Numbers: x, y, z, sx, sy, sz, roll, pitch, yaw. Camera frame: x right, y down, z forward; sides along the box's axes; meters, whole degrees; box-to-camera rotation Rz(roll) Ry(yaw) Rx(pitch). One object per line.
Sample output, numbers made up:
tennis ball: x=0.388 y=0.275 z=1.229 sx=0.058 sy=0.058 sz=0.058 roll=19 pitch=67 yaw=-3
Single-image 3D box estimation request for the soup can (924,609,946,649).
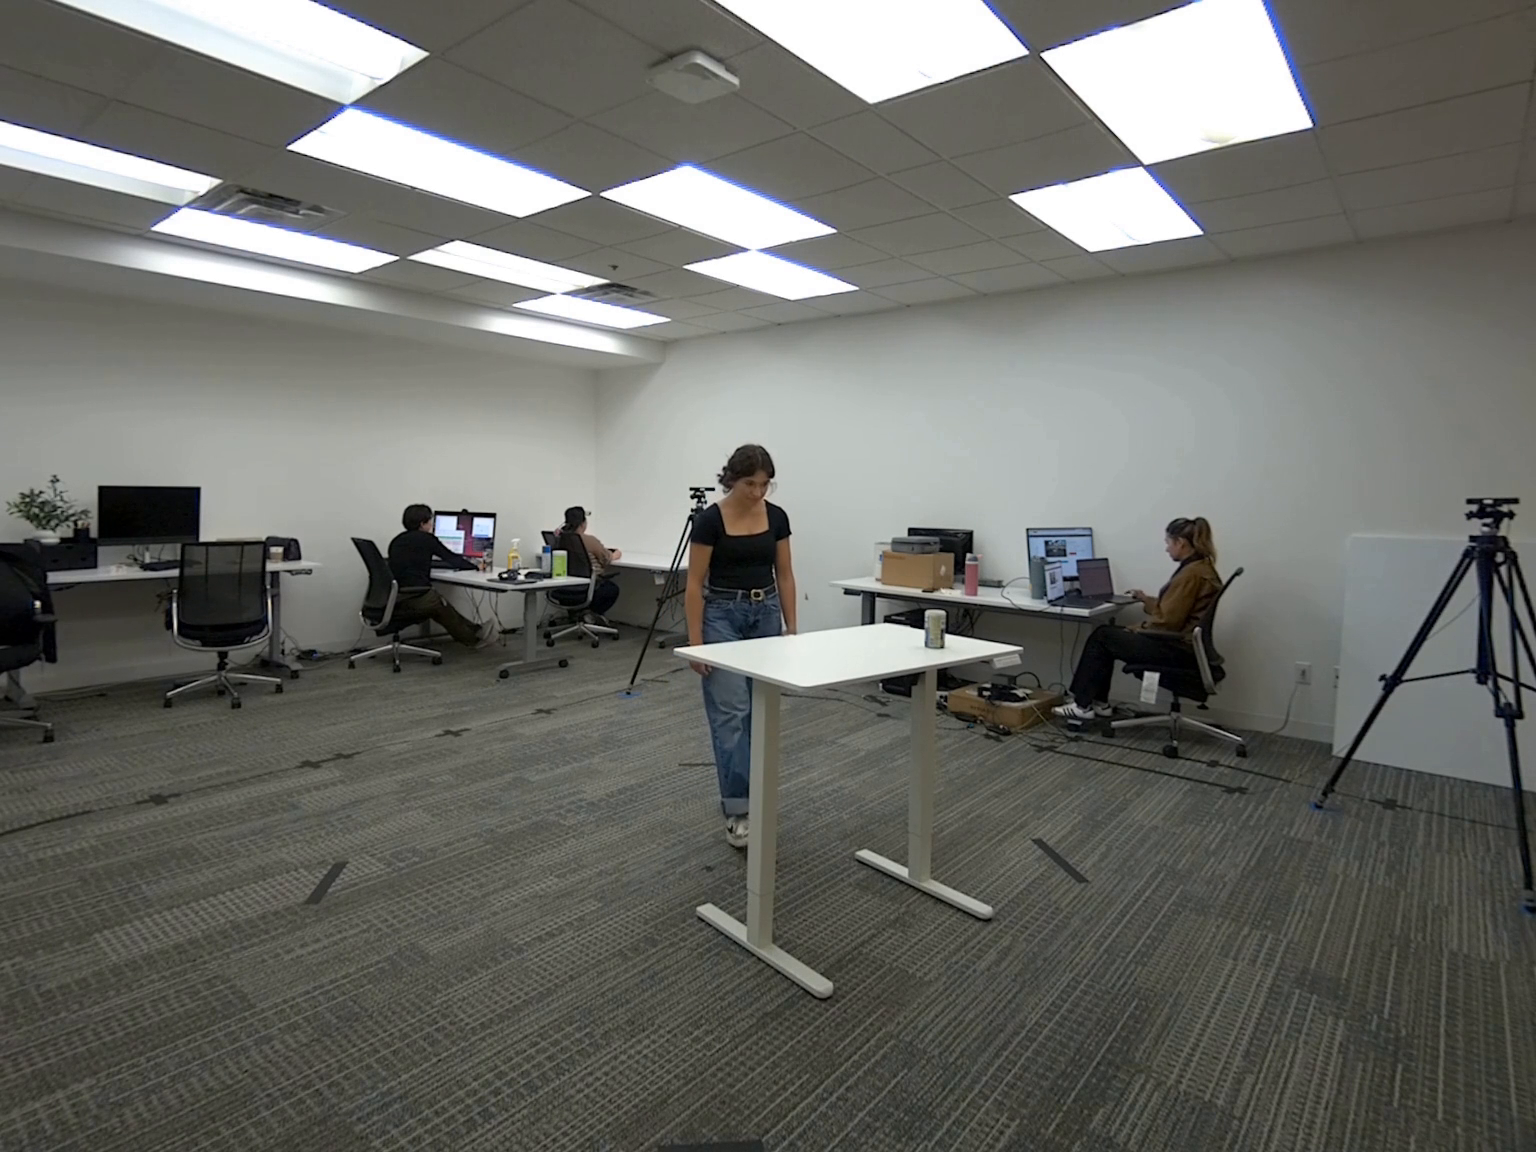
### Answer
soup can: x=0.546 y=0.175 z=2.791 sx=0.067 sy=0.121 sz=0.067 roll=3 pitch=3 yaw=-2
